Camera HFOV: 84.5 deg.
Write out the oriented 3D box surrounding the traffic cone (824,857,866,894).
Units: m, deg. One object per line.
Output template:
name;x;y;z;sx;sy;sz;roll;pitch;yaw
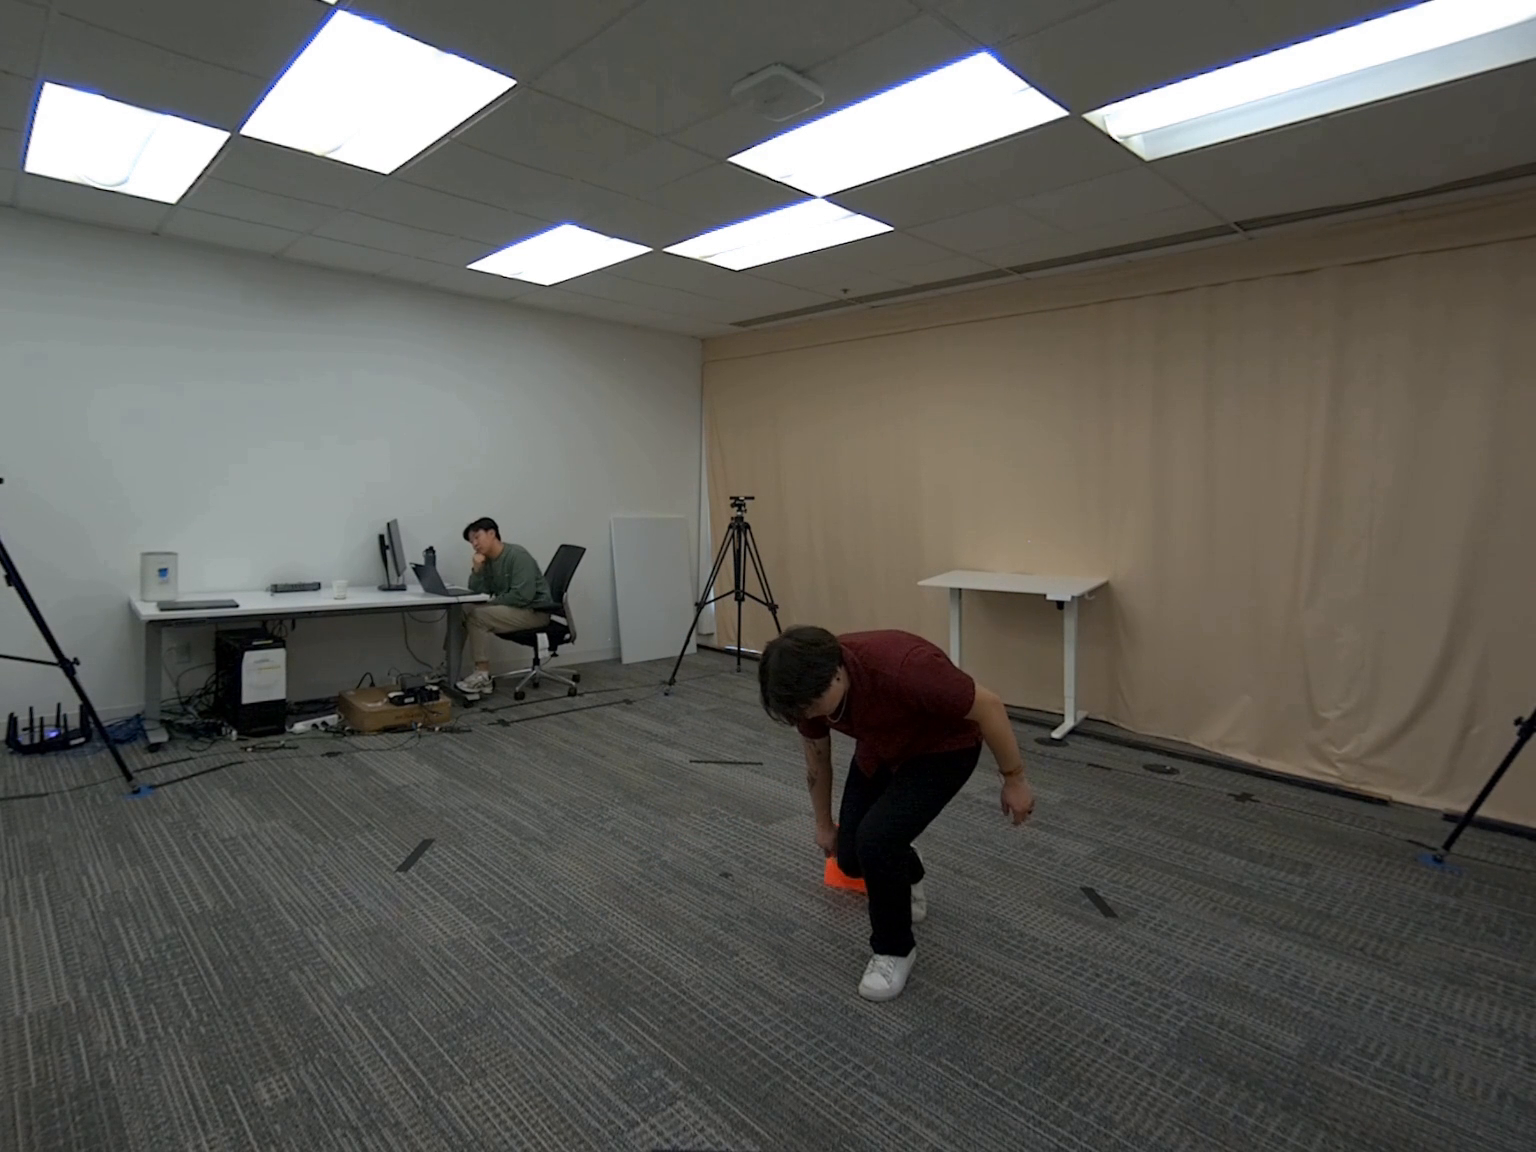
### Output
traffic cone;0.260;0.962;2.885;0.208;0.205;0.374;10;-23;17
